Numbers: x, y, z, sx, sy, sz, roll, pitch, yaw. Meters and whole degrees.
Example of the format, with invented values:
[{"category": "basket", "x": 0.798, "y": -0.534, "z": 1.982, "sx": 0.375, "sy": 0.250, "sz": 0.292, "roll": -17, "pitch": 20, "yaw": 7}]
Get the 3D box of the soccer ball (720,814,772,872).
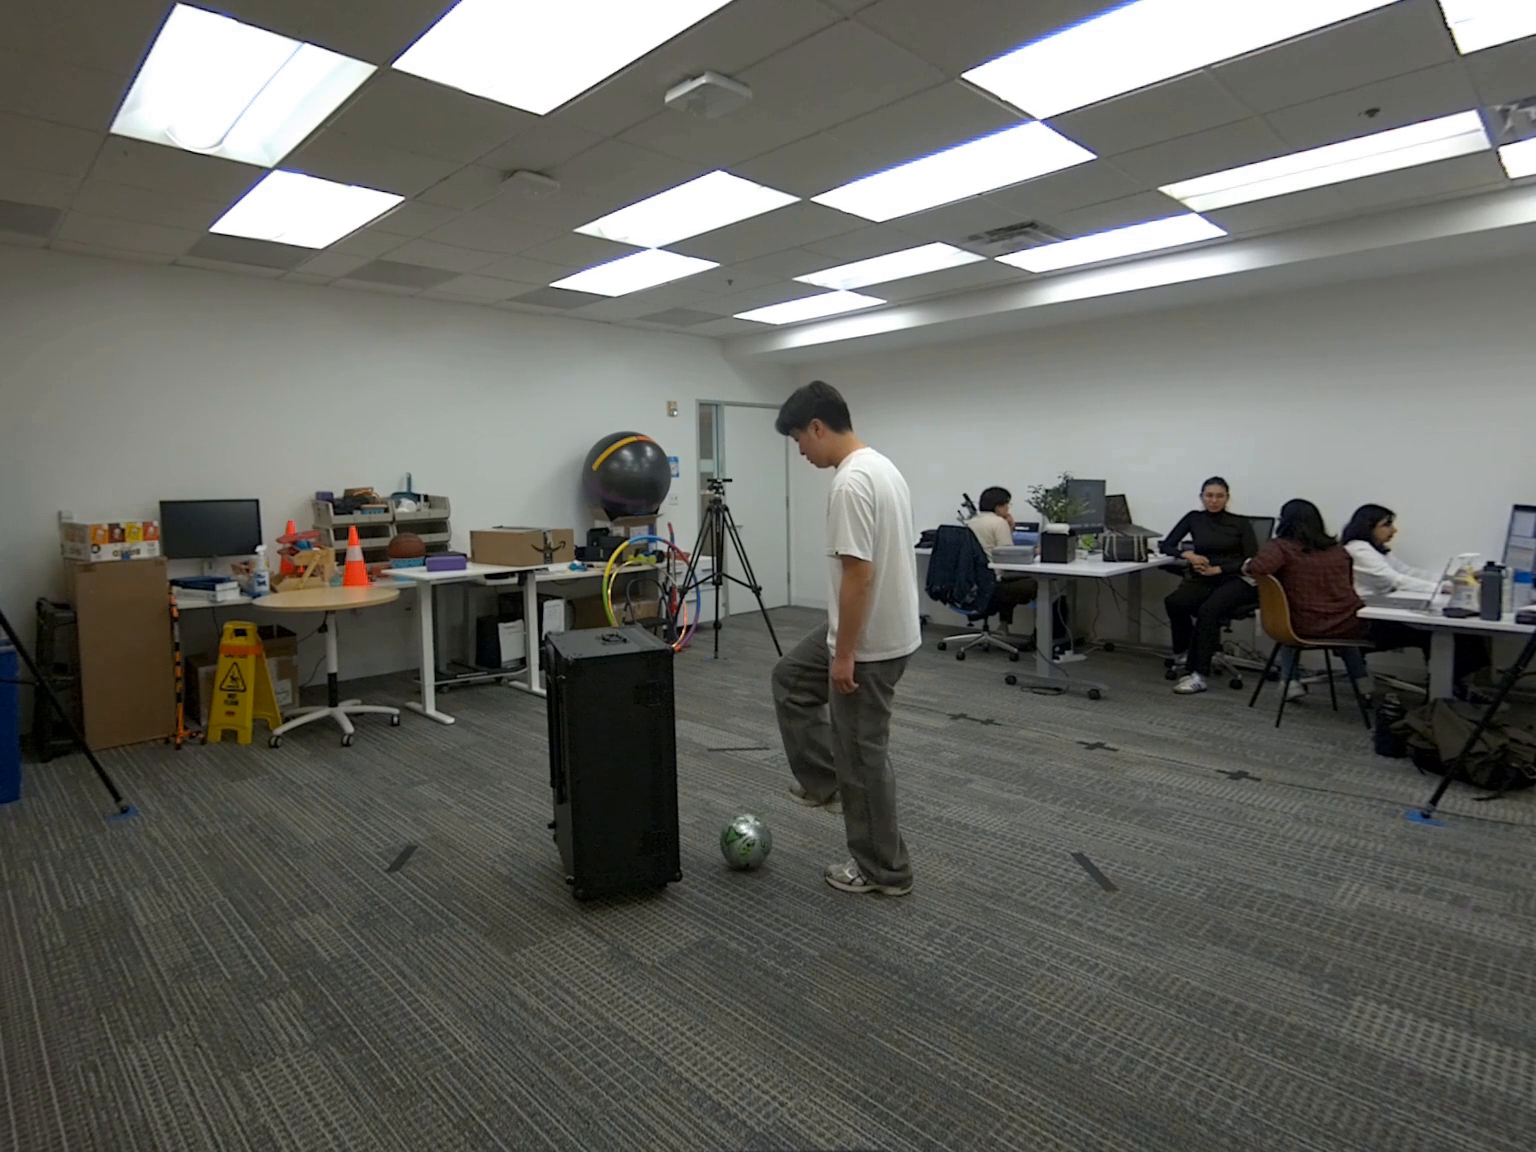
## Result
[{"category": "soccer ball", "x": -0.077, "y": 0.949, "z": 3.071, "sx": 0.187, "sy": 0.187, "sz": 0.188, "roll": -1, "pitch": 5, "yaw": -2}]
